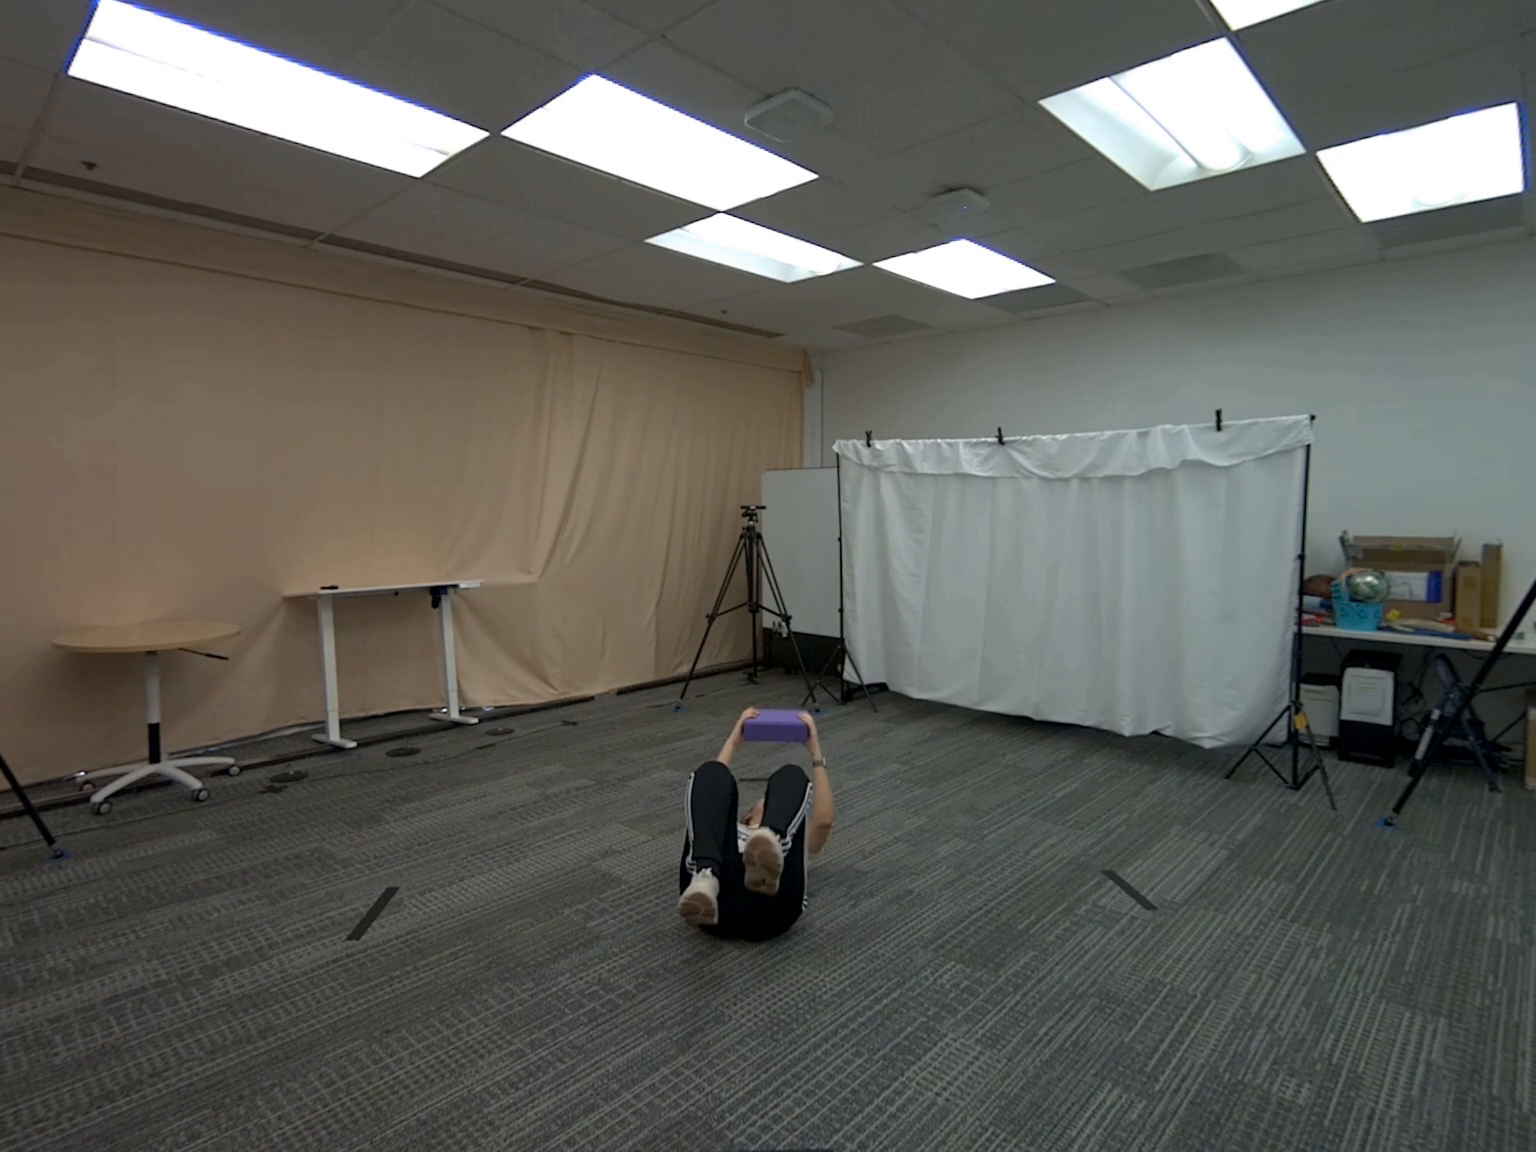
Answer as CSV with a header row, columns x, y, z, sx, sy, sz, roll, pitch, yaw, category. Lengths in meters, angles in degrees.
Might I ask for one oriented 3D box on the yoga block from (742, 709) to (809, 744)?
x,y,z,sx,sy,sz,roll,pitch,yaw,category
0.047,0.562,3.136,0.232,0.076,0.148,-1,9,10,yoga block
